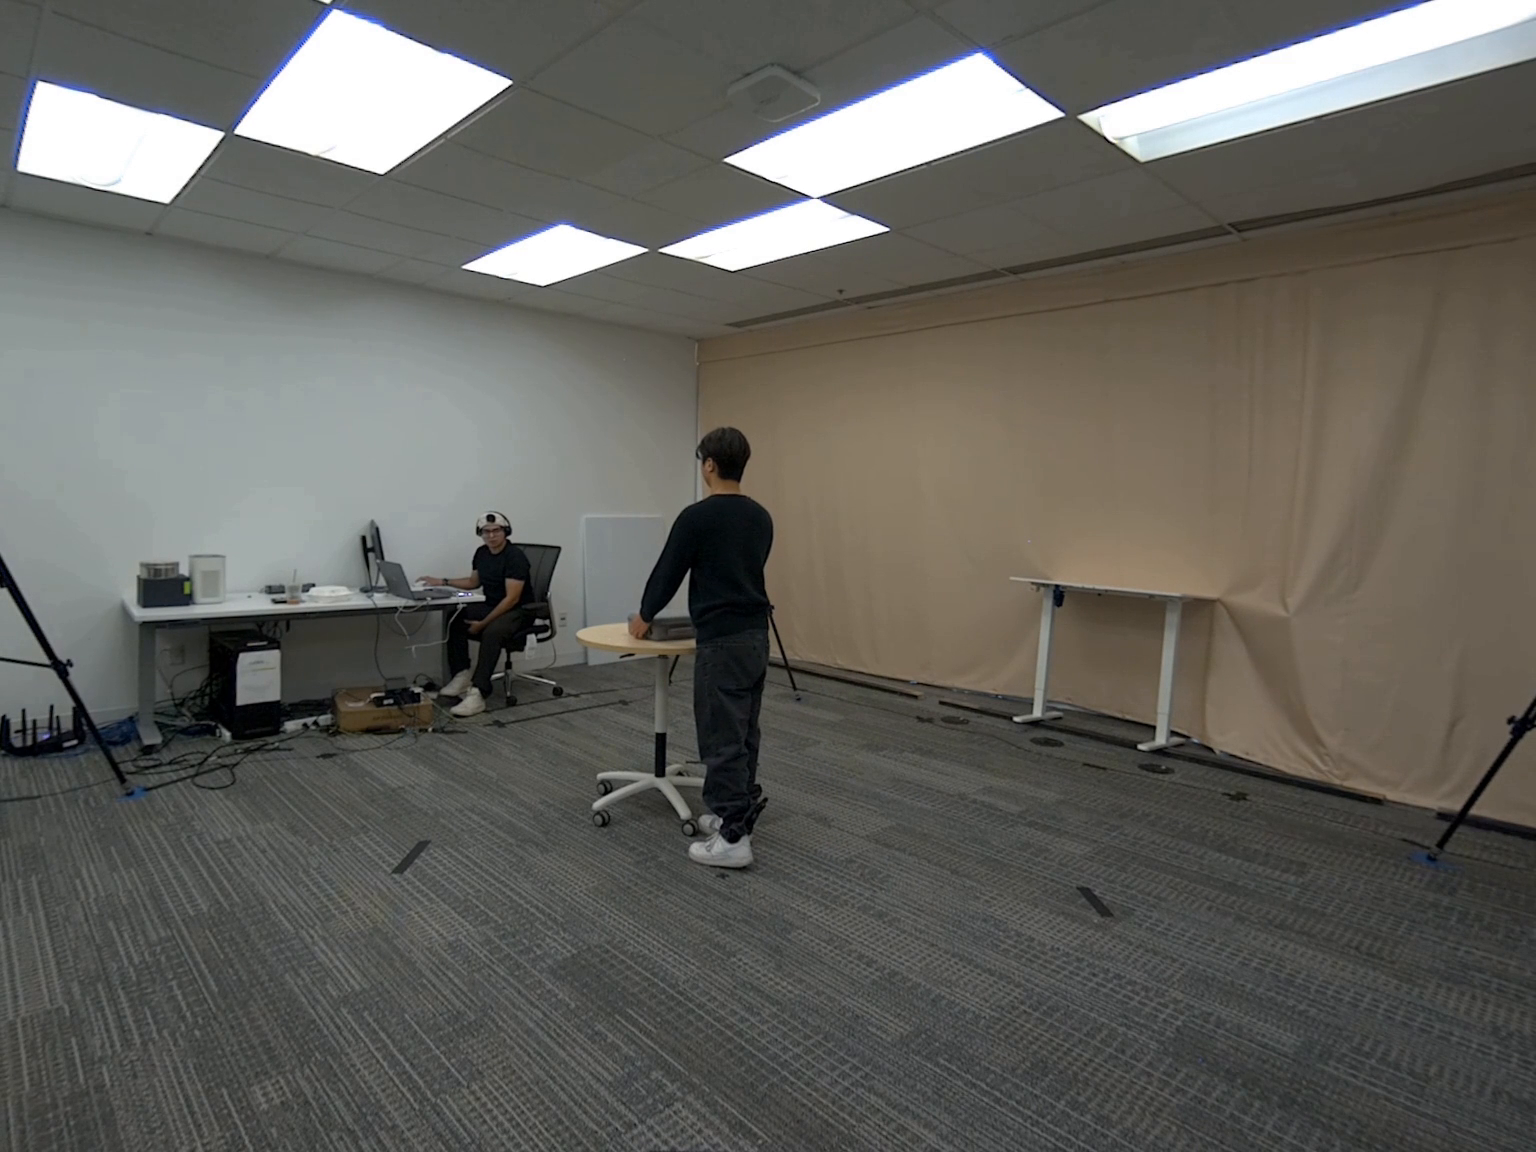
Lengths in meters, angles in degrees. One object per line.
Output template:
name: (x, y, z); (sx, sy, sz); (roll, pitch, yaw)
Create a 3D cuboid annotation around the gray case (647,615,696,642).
gray case: (-0.461, 0.212, 3.713); (0.251, 0.104, 0.267); (0, 4, -41)
